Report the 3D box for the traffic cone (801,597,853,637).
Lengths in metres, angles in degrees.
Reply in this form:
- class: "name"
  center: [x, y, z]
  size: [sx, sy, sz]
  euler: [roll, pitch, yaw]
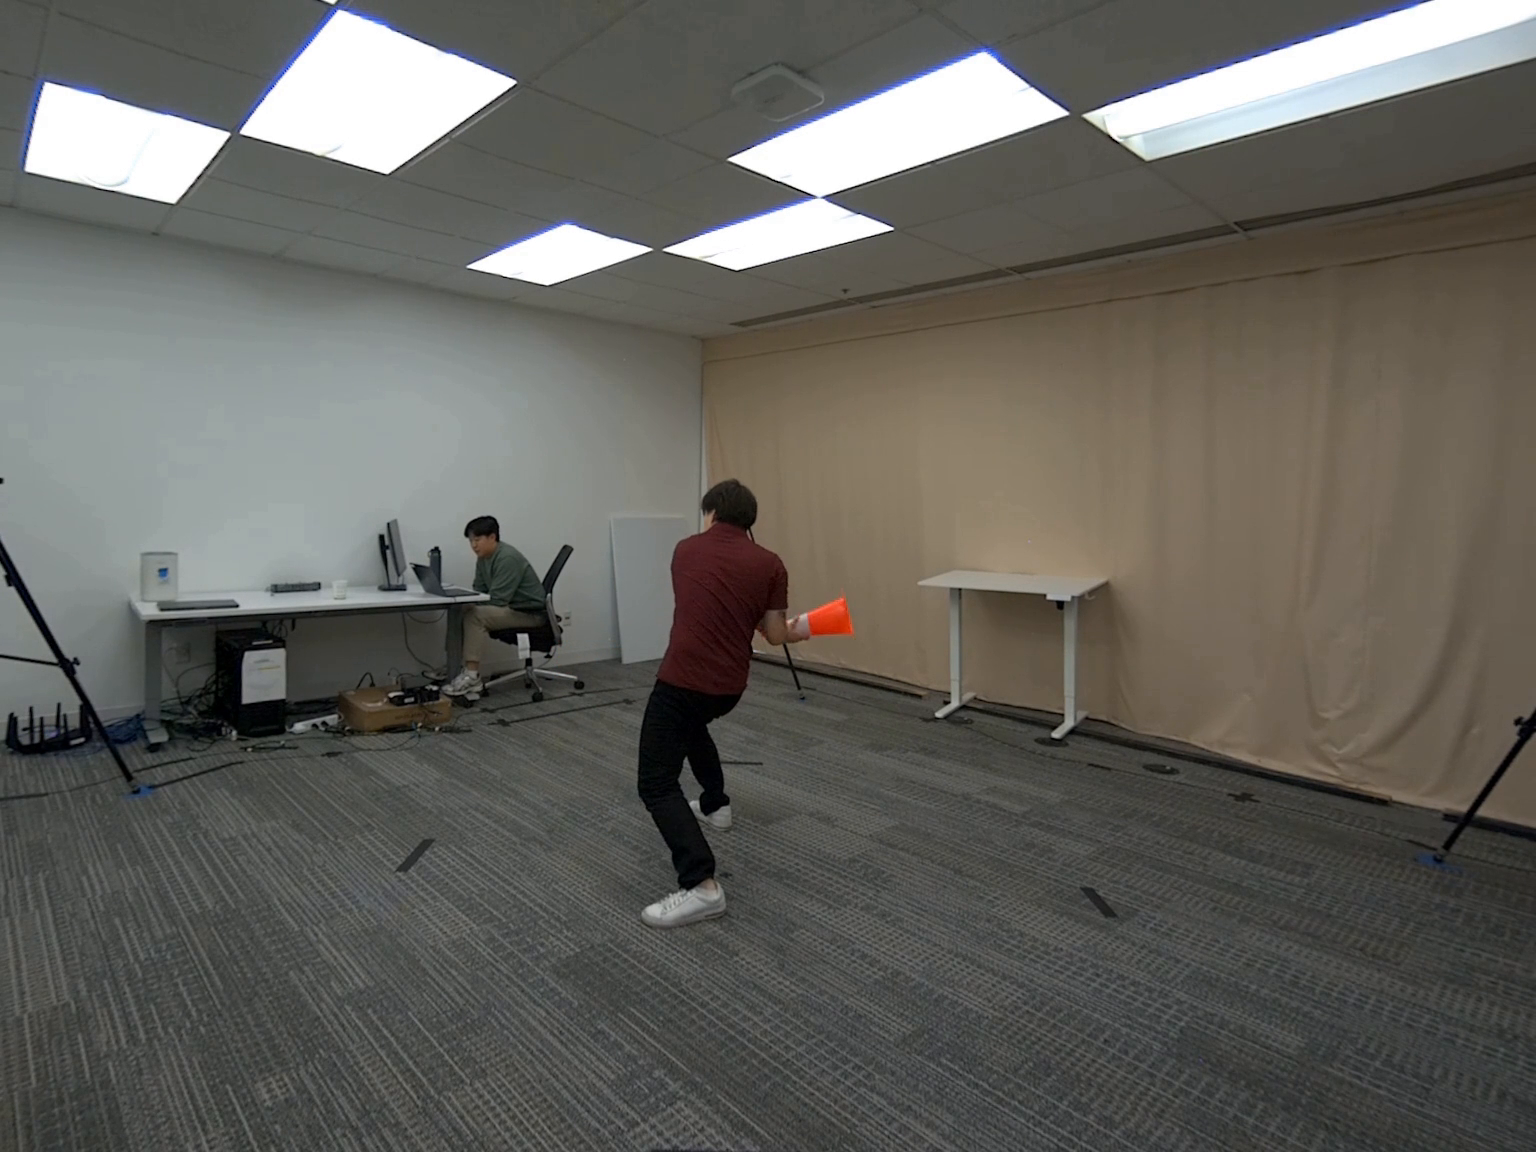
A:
- class: "traffic cone"
  center: [0.130, 0.216, 3.584]
  size: [0.384, 0.206, 0.202]
  euler: [-15, -3, 1]
